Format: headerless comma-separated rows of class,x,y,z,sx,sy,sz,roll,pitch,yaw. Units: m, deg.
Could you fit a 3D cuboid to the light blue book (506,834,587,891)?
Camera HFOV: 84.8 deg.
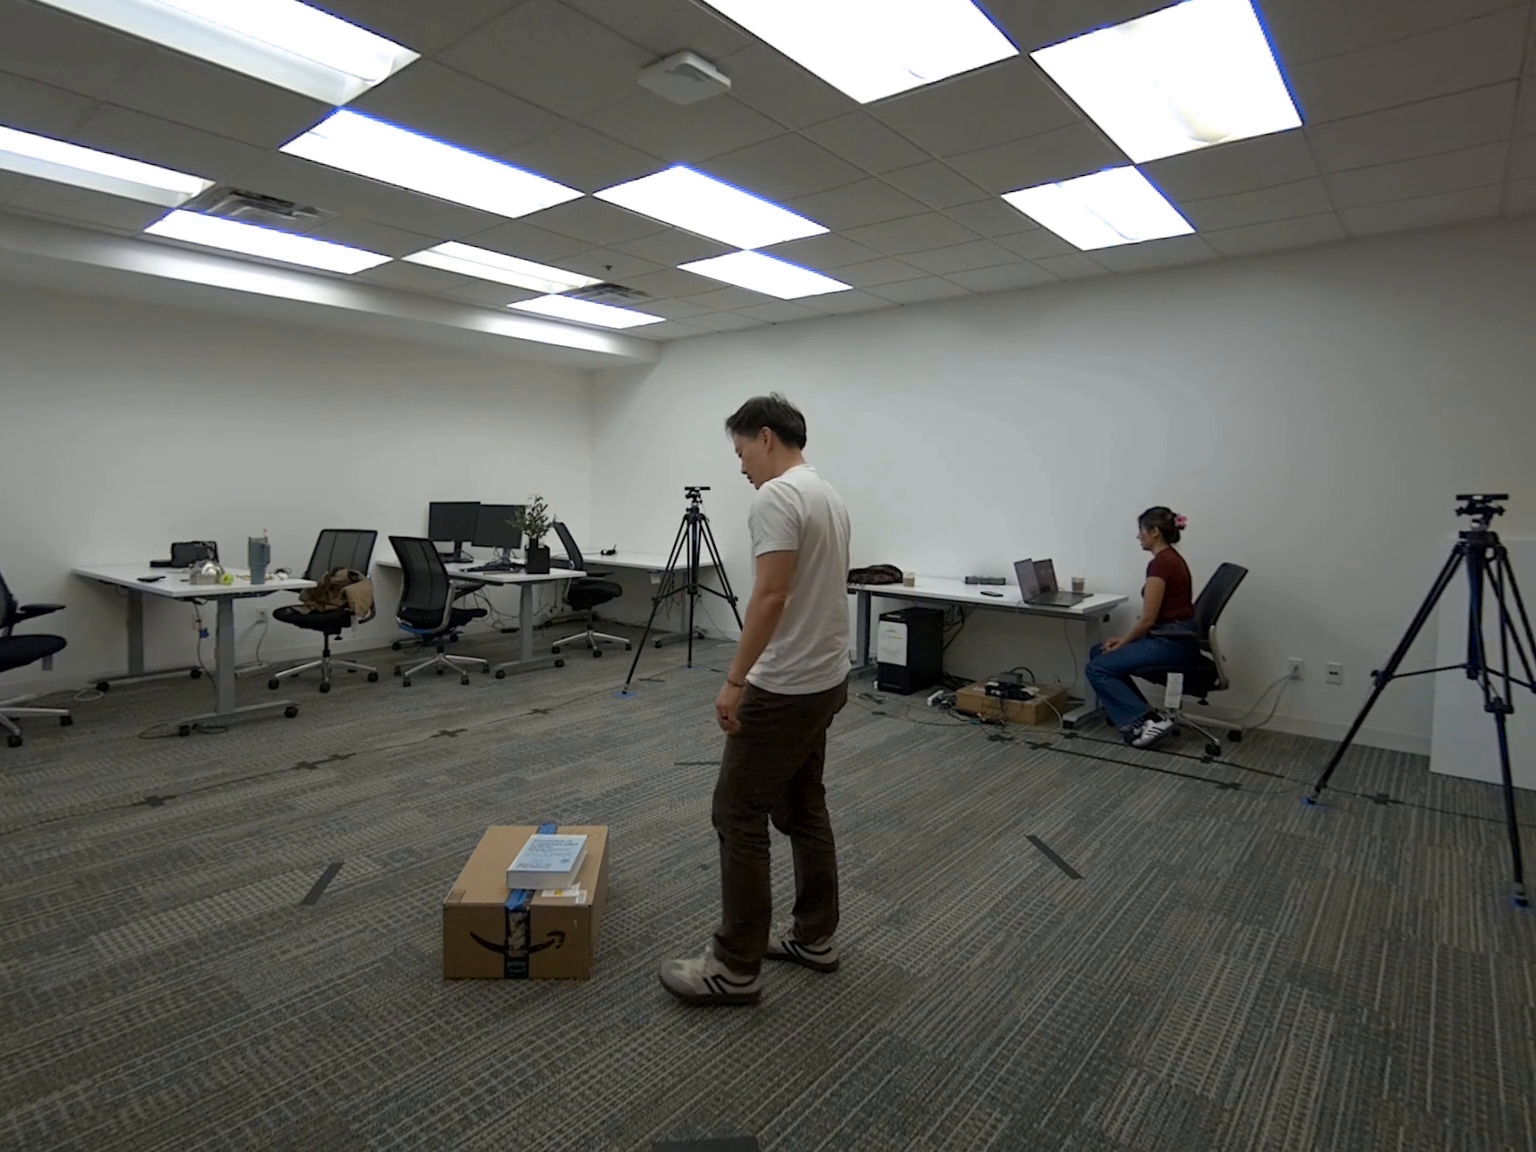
light blue book,-0.688,0.875,2.612,0.192,0.059,0.261,0,5,1
